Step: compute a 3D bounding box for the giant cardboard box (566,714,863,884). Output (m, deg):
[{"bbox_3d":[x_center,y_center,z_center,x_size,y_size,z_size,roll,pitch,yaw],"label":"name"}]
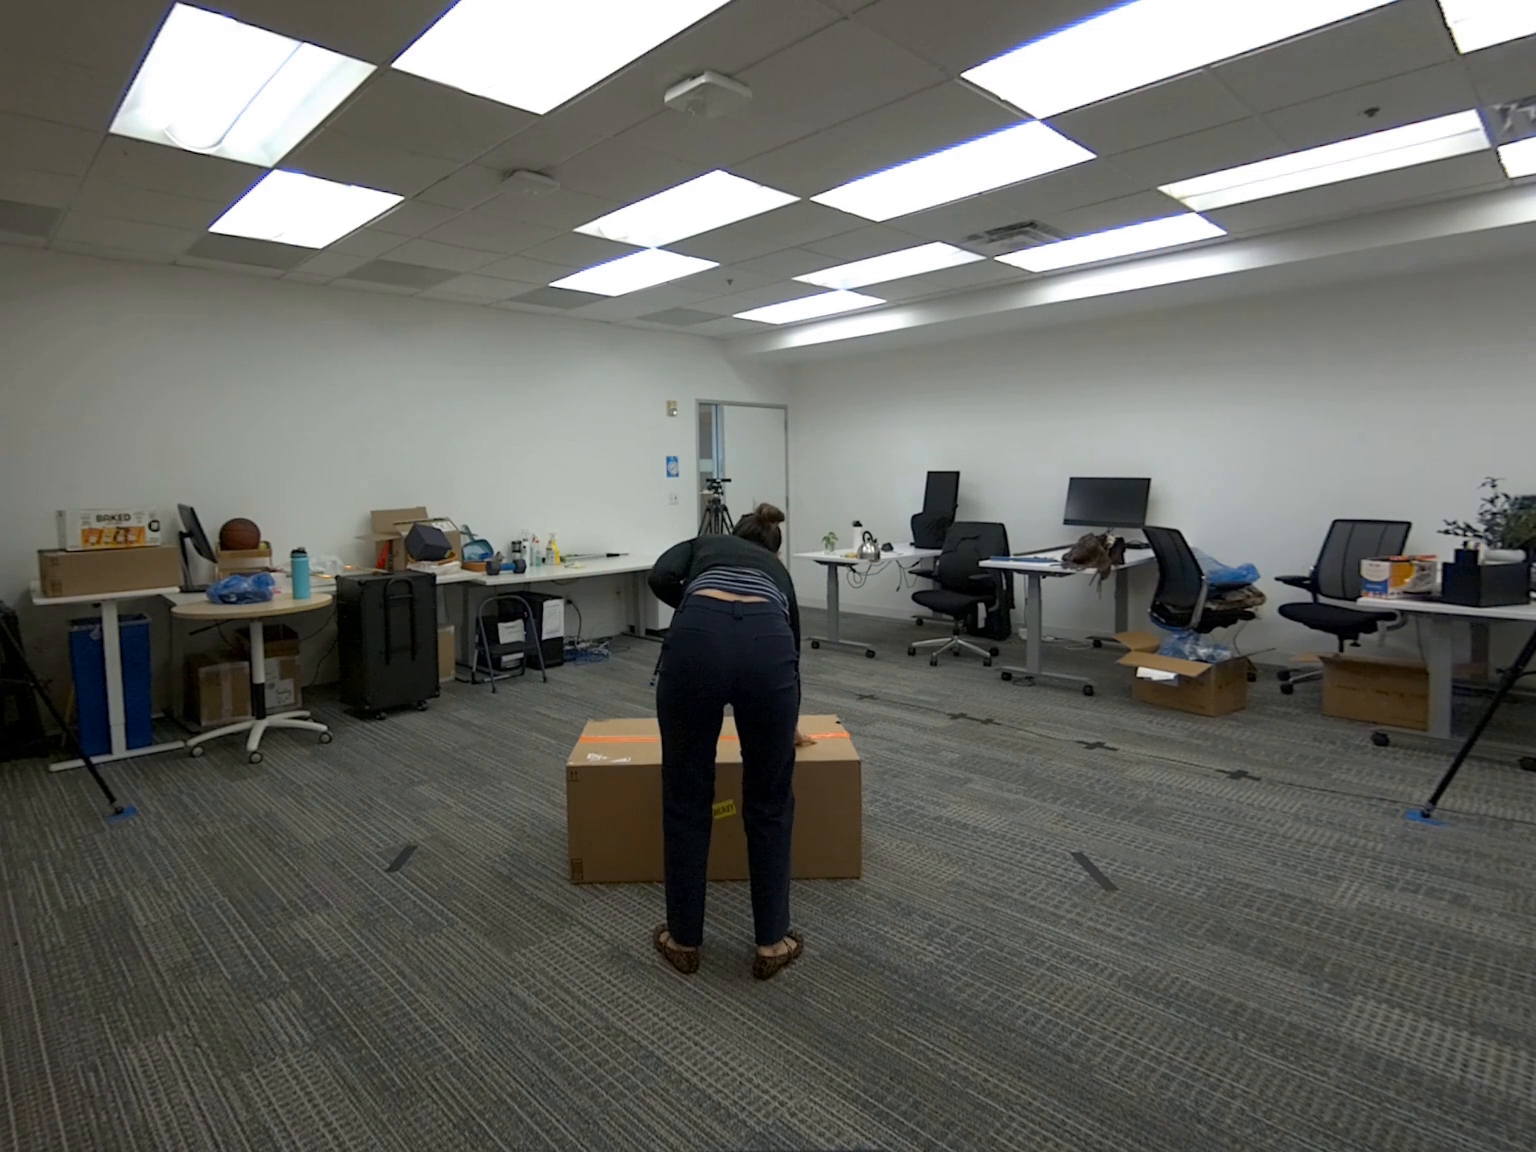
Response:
[{"bbox_3d":[-0.206,0.814,3.243,1.025,0.424,0.581,-1,6,-1],"label":"giant cardboard box"}]
